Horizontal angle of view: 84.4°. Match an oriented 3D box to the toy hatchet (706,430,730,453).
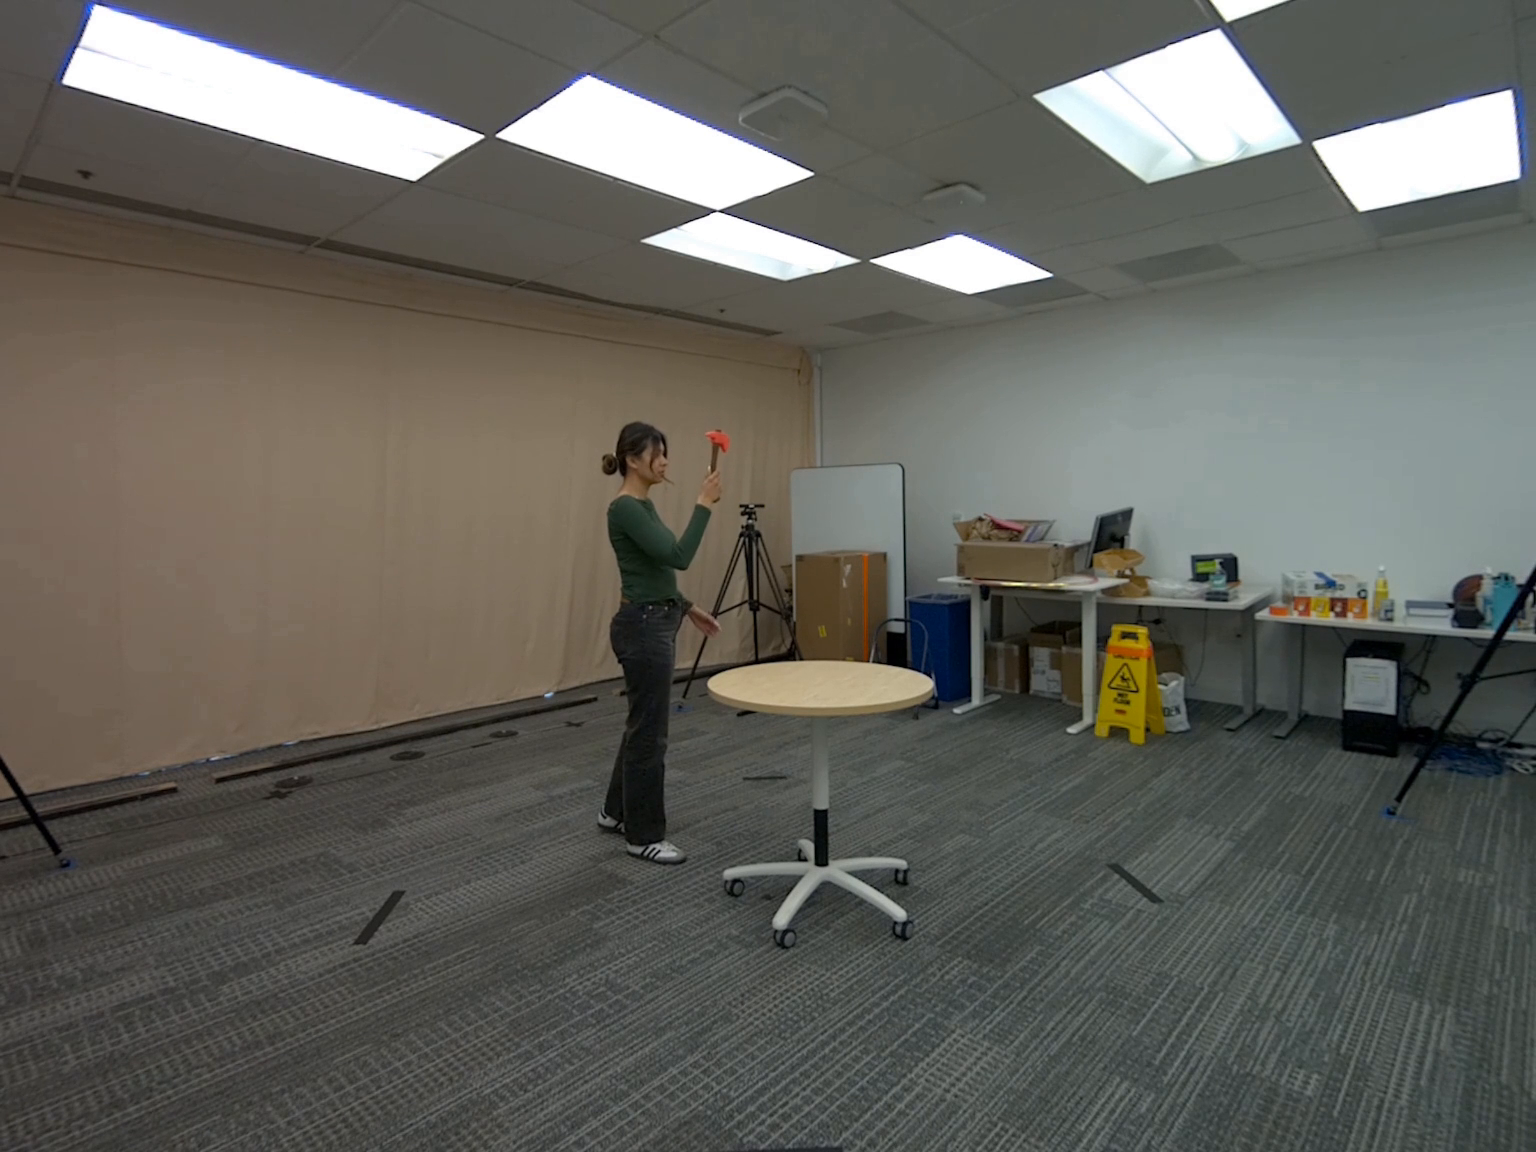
[{"bbox_3d":[-0.181,-0.424,3.199,0.030,0.267,0.128,13,23,36],"label":"toy hatchet"}]
